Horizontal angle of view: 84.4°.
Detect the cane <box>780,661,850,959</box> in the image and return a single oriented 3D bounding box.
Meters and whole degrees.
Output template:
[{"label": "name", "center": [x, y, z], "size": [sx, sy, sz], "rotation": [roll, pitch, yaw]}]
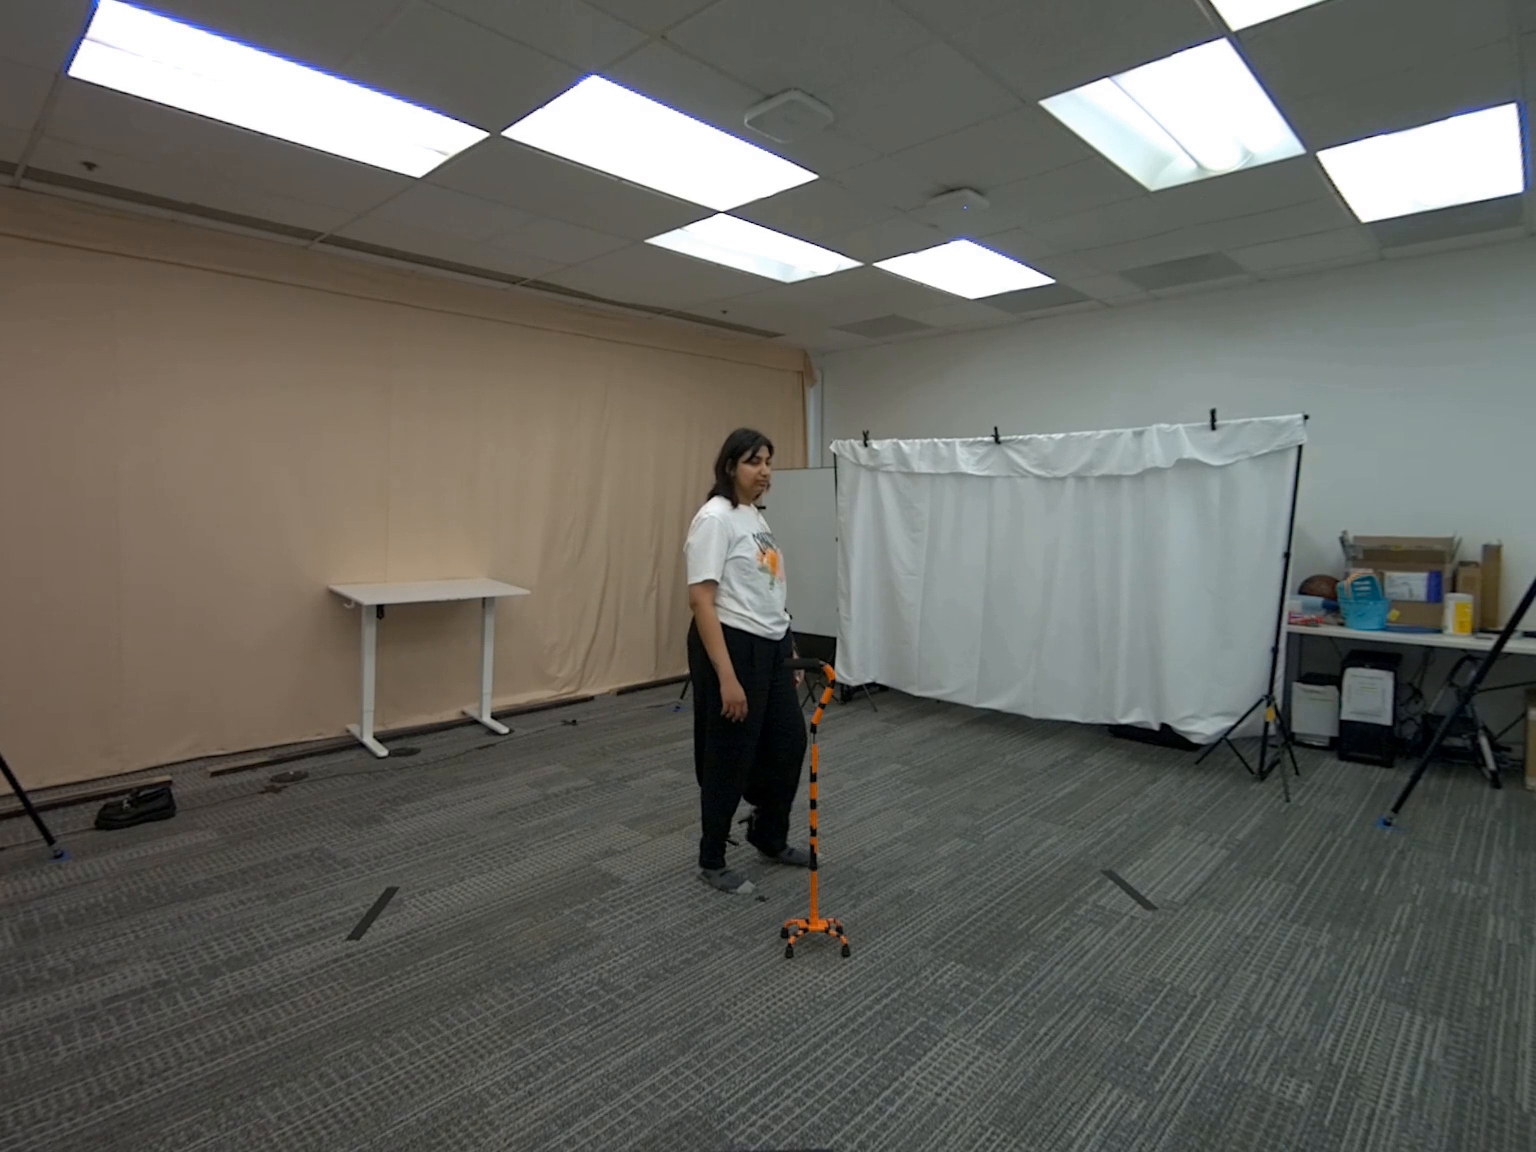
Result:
[{"label": "cane", "center": [0.152, 0.716, 2.649], "size": [0.206, 0.907, 0.152], "rotation": [0, 2, -2]}]
